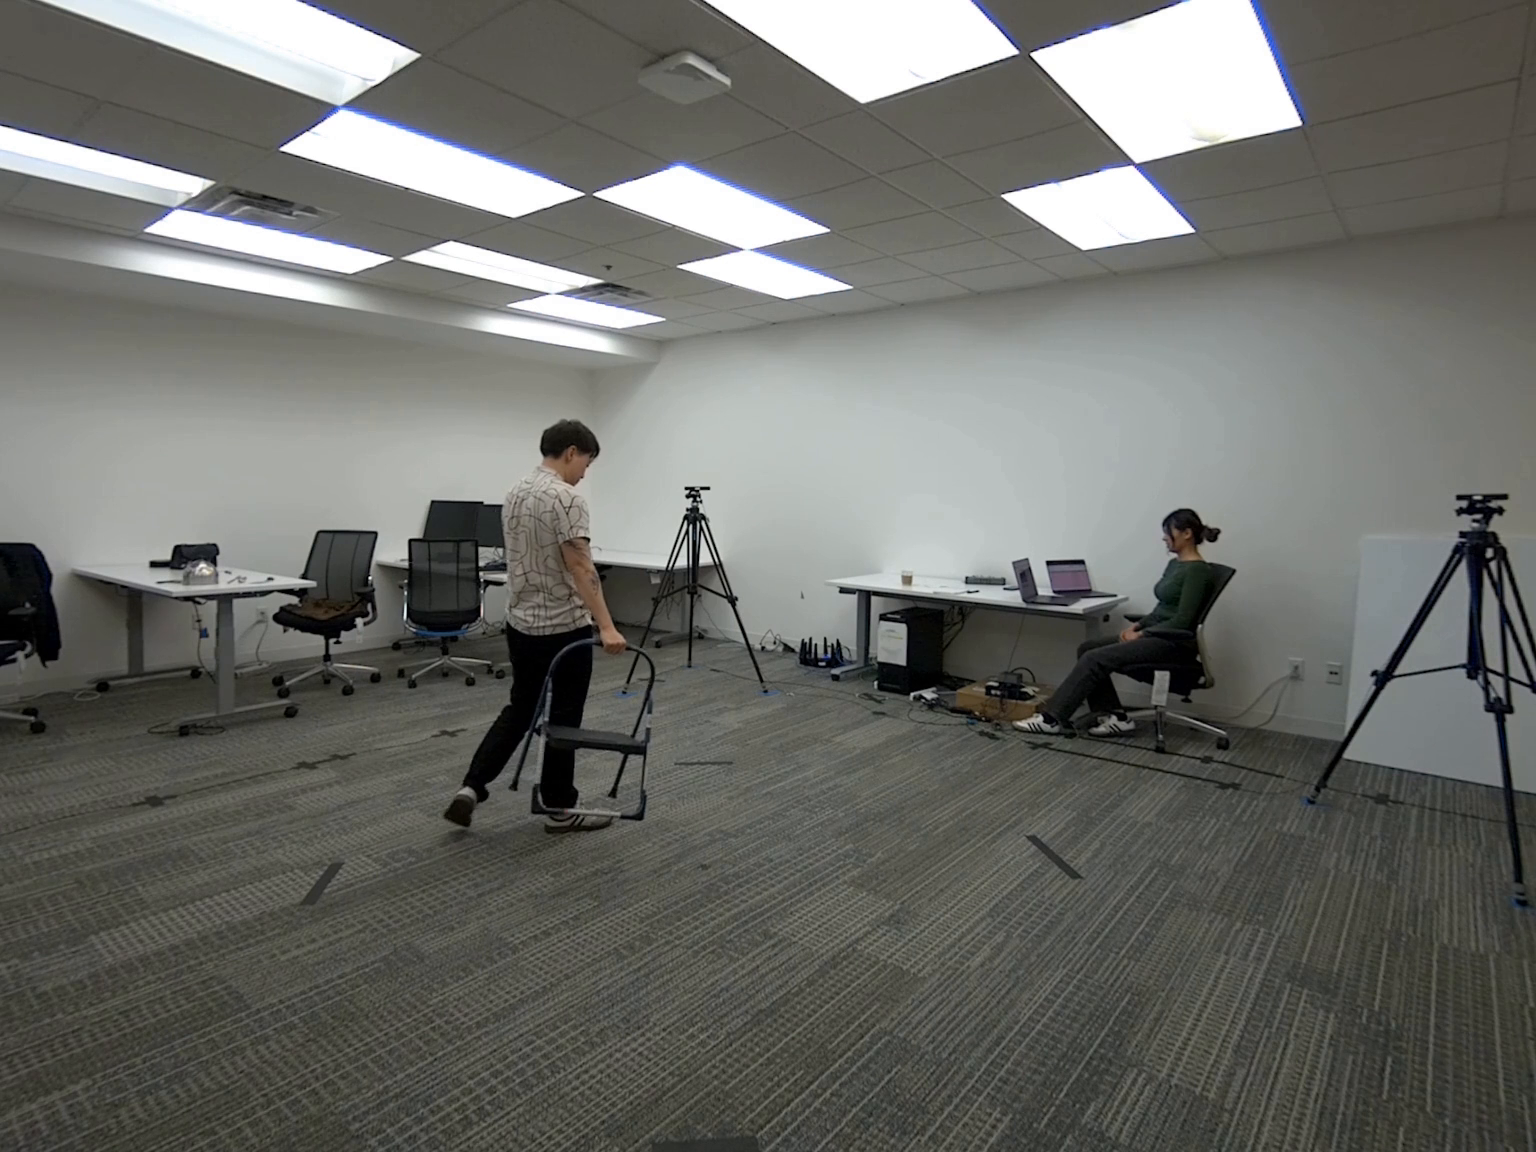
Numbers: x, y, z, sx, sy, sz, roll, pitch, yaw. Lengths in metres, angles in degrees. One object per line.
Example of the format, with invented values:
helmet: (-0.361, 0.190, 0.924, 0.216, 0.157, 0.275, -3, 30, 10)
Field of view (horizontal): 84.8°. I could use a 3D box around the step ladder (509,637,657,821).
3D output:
step ladder: (-0.658, 0.536, 3.126, 0.418, 0.608, 0.358, 12, -5, -28)
